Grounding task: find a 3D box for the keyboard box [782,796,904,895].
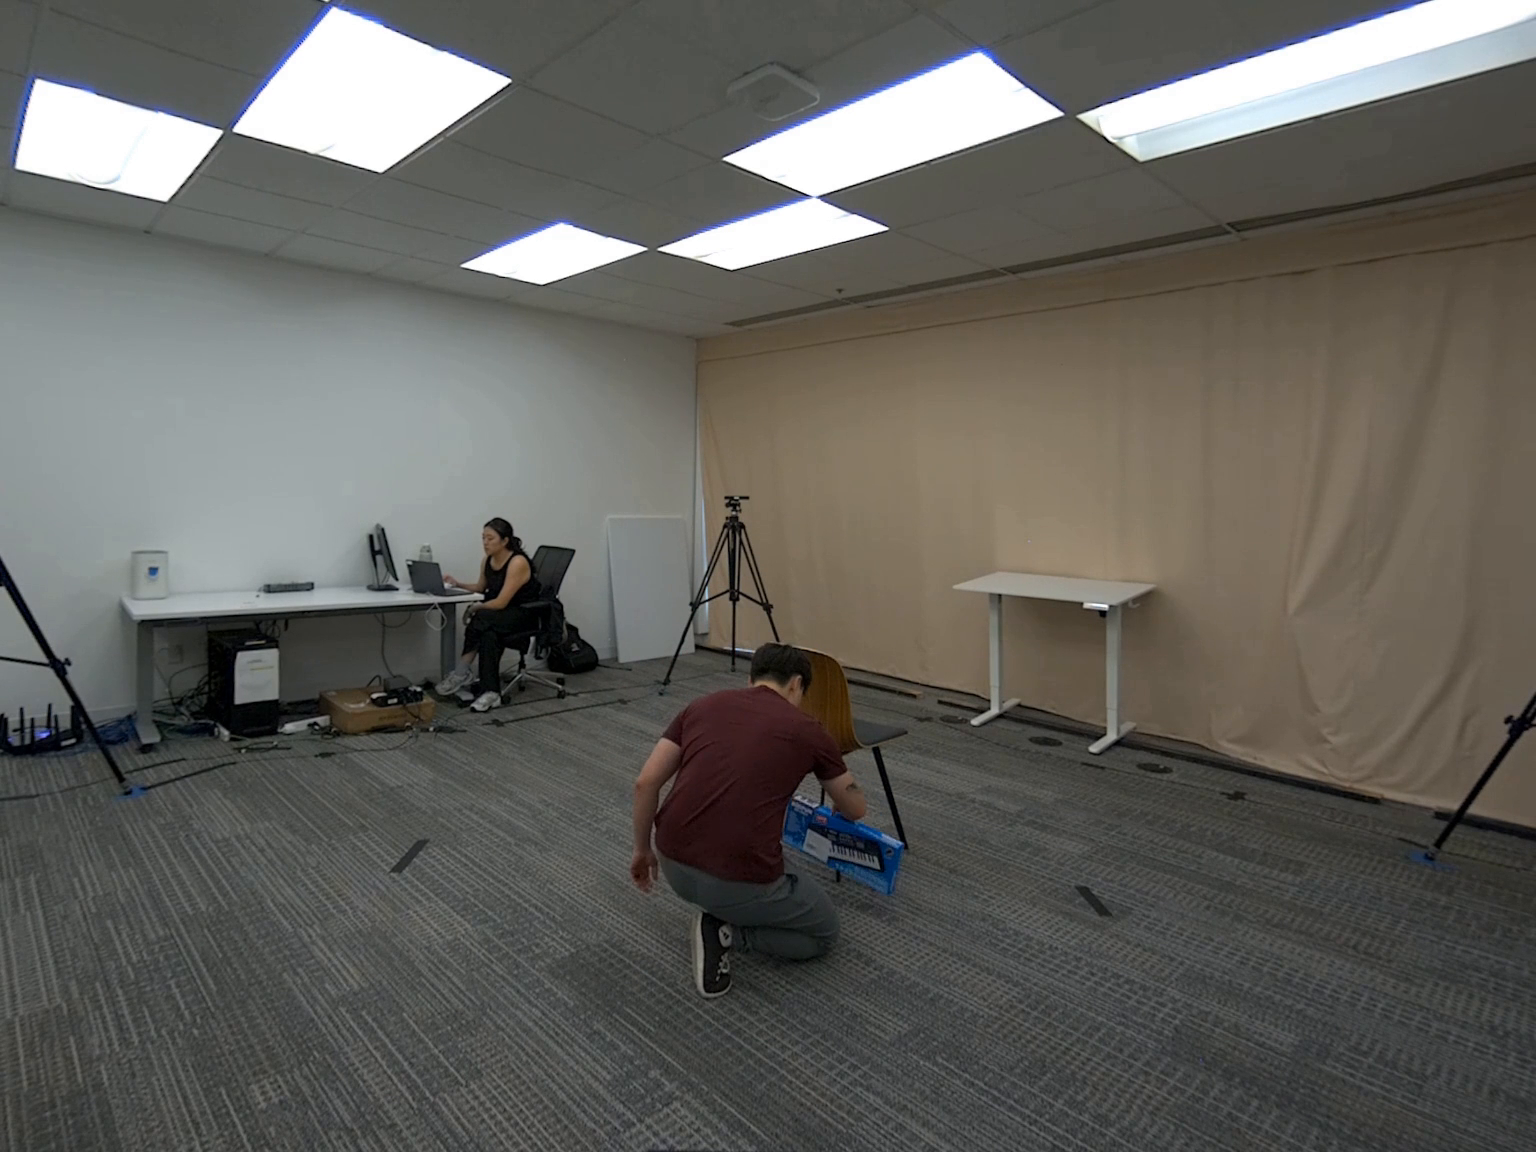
[{"bbox_3d":[0.249,0.943,2.963,0.449,0.175,0.058,16,8,34],"label":"keyboard box"}]
